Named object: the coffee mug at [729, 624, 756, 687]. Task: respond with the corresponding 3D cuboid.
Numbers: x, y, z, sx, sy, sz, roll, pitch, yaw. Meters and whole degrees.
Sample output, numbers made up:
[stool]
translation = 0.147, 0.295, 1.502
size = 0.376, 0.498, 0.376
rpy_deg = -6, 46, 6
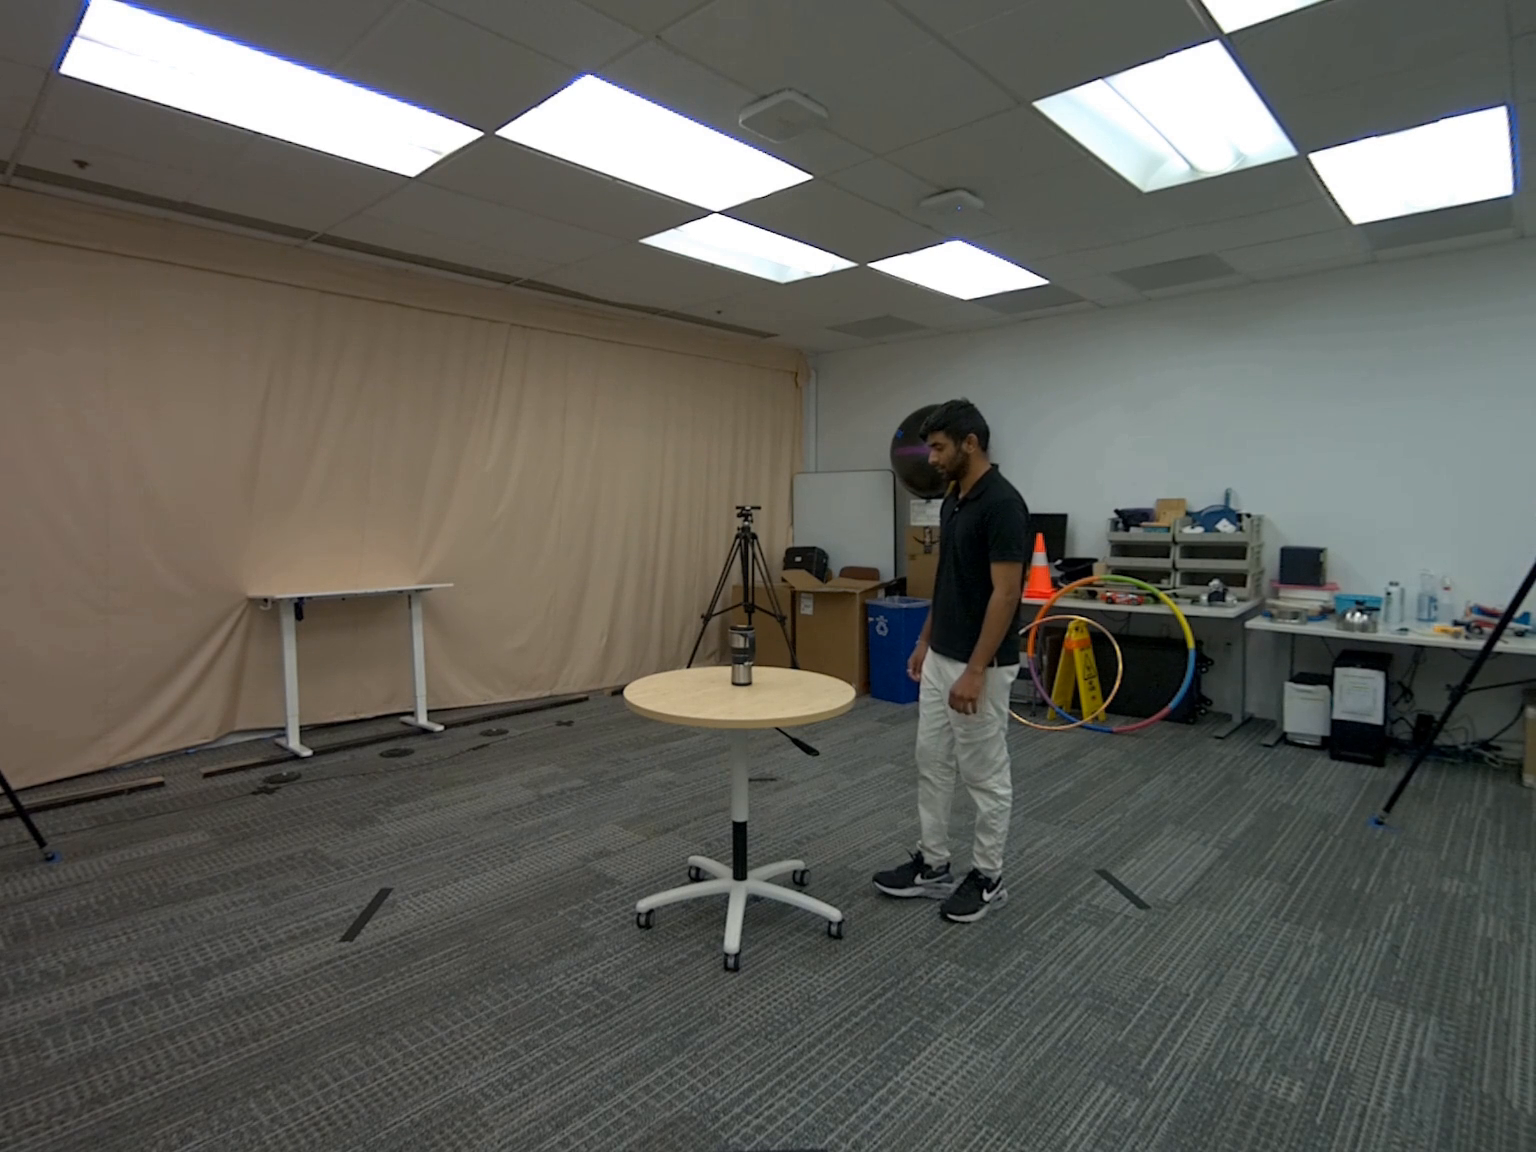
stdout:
[coffee mug]
translation = -0.100, 0.275, 2.860
size = 0.119, 0.202, 0.090
rpy_deg = 4, 9, -25
